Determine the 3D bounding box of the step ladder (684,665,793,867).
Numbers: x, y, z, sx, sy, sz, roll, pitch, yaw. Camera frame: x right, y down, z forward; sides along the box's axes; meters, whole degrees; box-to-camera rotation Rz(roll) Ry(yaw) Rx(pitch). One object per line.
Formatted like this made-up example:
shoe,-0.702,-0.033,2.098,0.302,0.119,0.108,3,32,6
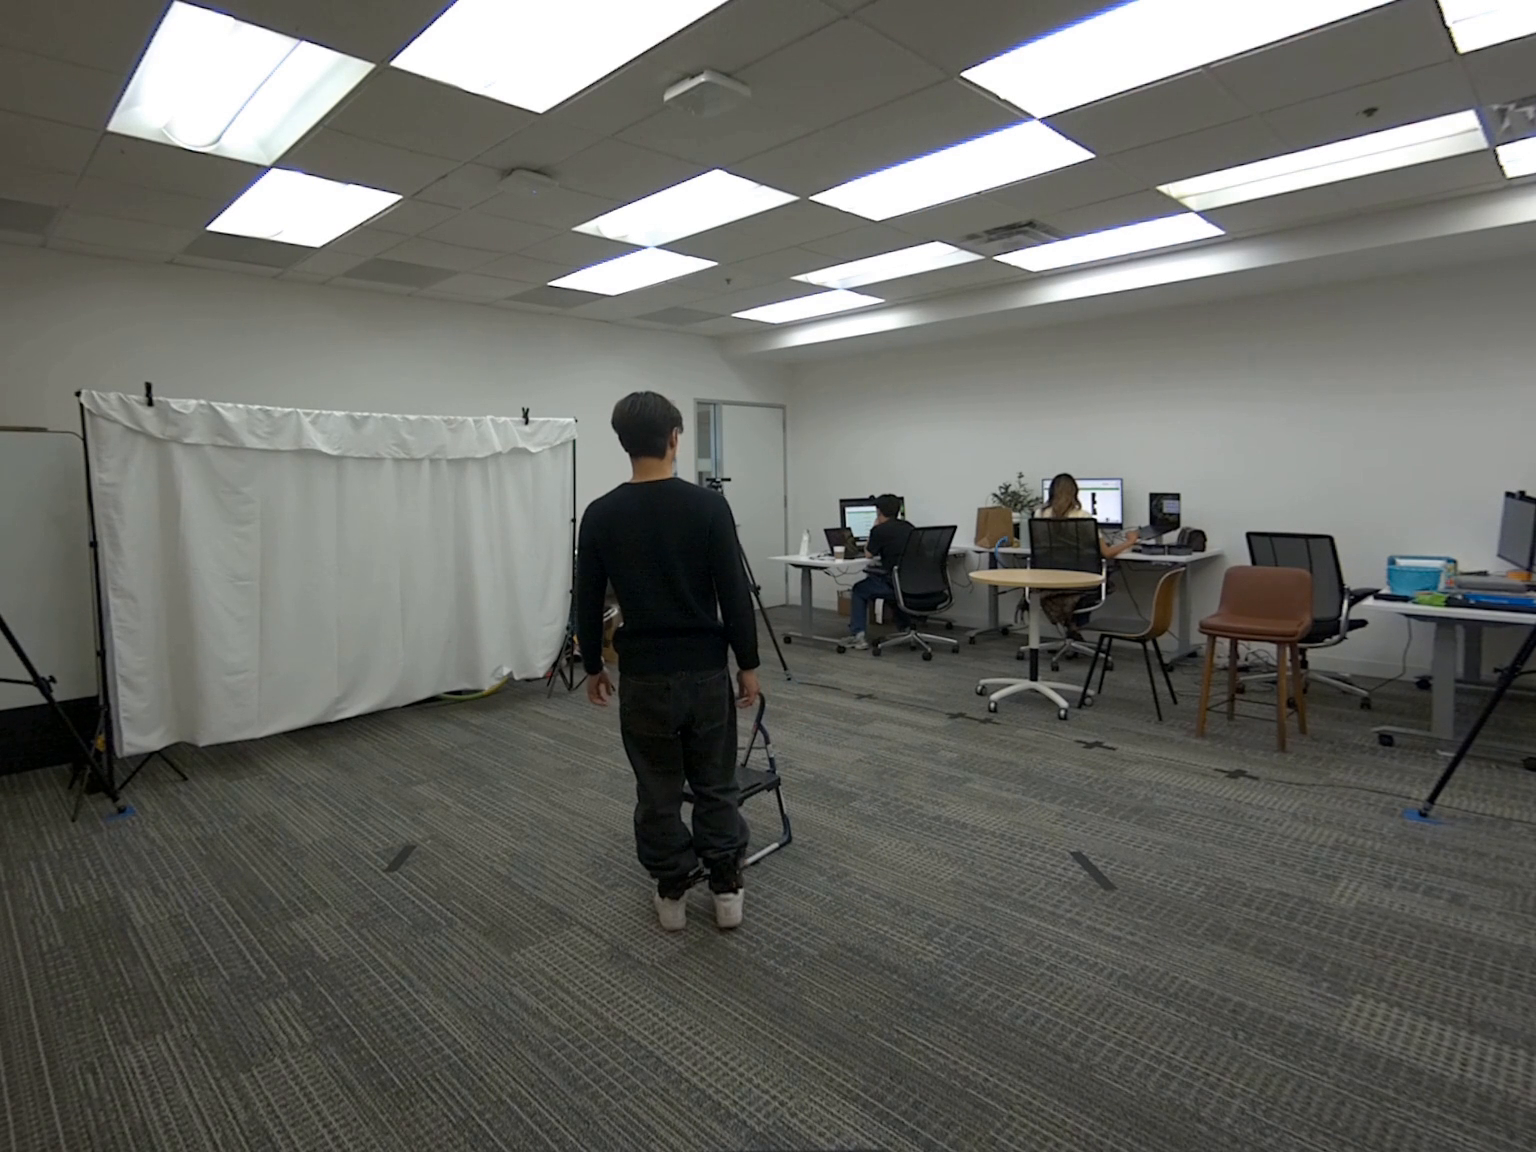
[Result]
step ladder,-0.166,0.729,3.209,0.359,0.604,0.420,2,6,36
